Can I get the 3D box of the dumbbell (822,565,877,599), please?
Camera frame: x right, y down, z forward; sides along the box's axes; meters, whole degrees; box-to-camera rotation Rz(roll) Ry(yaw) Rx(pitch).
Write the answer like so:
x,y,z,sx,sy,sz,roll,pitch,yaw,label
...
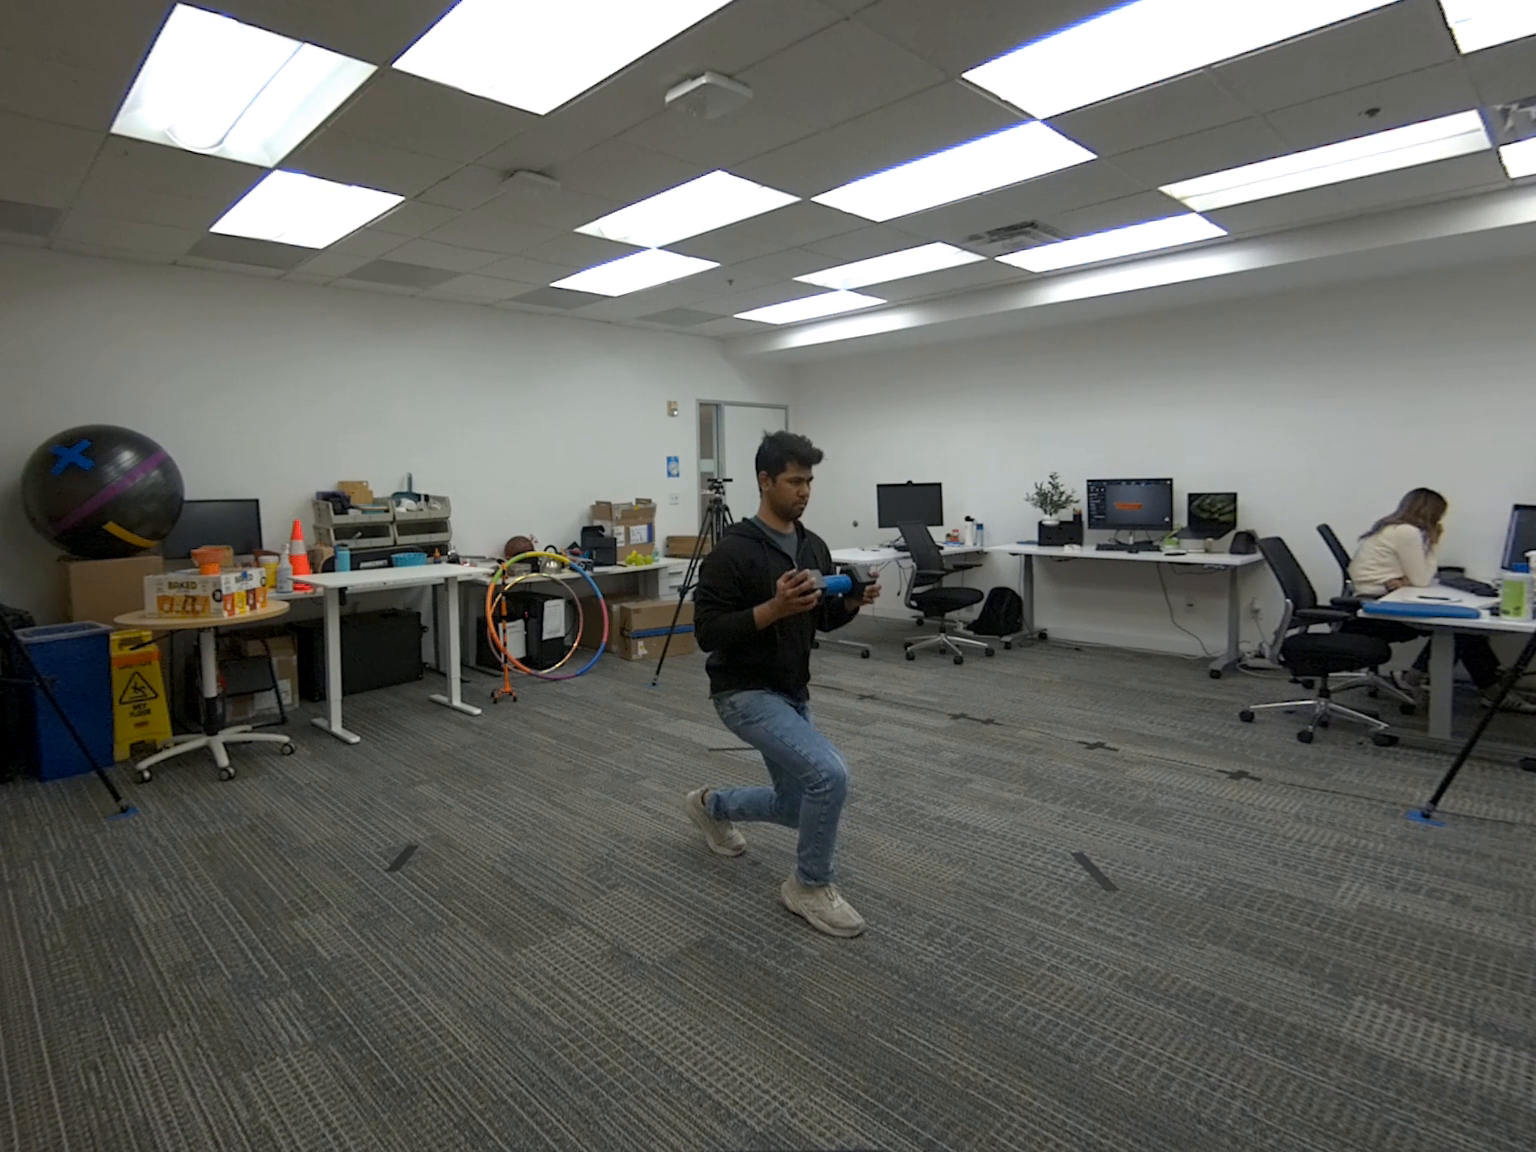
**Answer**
x,y,z,sx,sy,sz,roll,pitch,yaw,label
0.187,0.030,2.679,0.286,0.121,0.113,-6,30,-35,dumbbell
